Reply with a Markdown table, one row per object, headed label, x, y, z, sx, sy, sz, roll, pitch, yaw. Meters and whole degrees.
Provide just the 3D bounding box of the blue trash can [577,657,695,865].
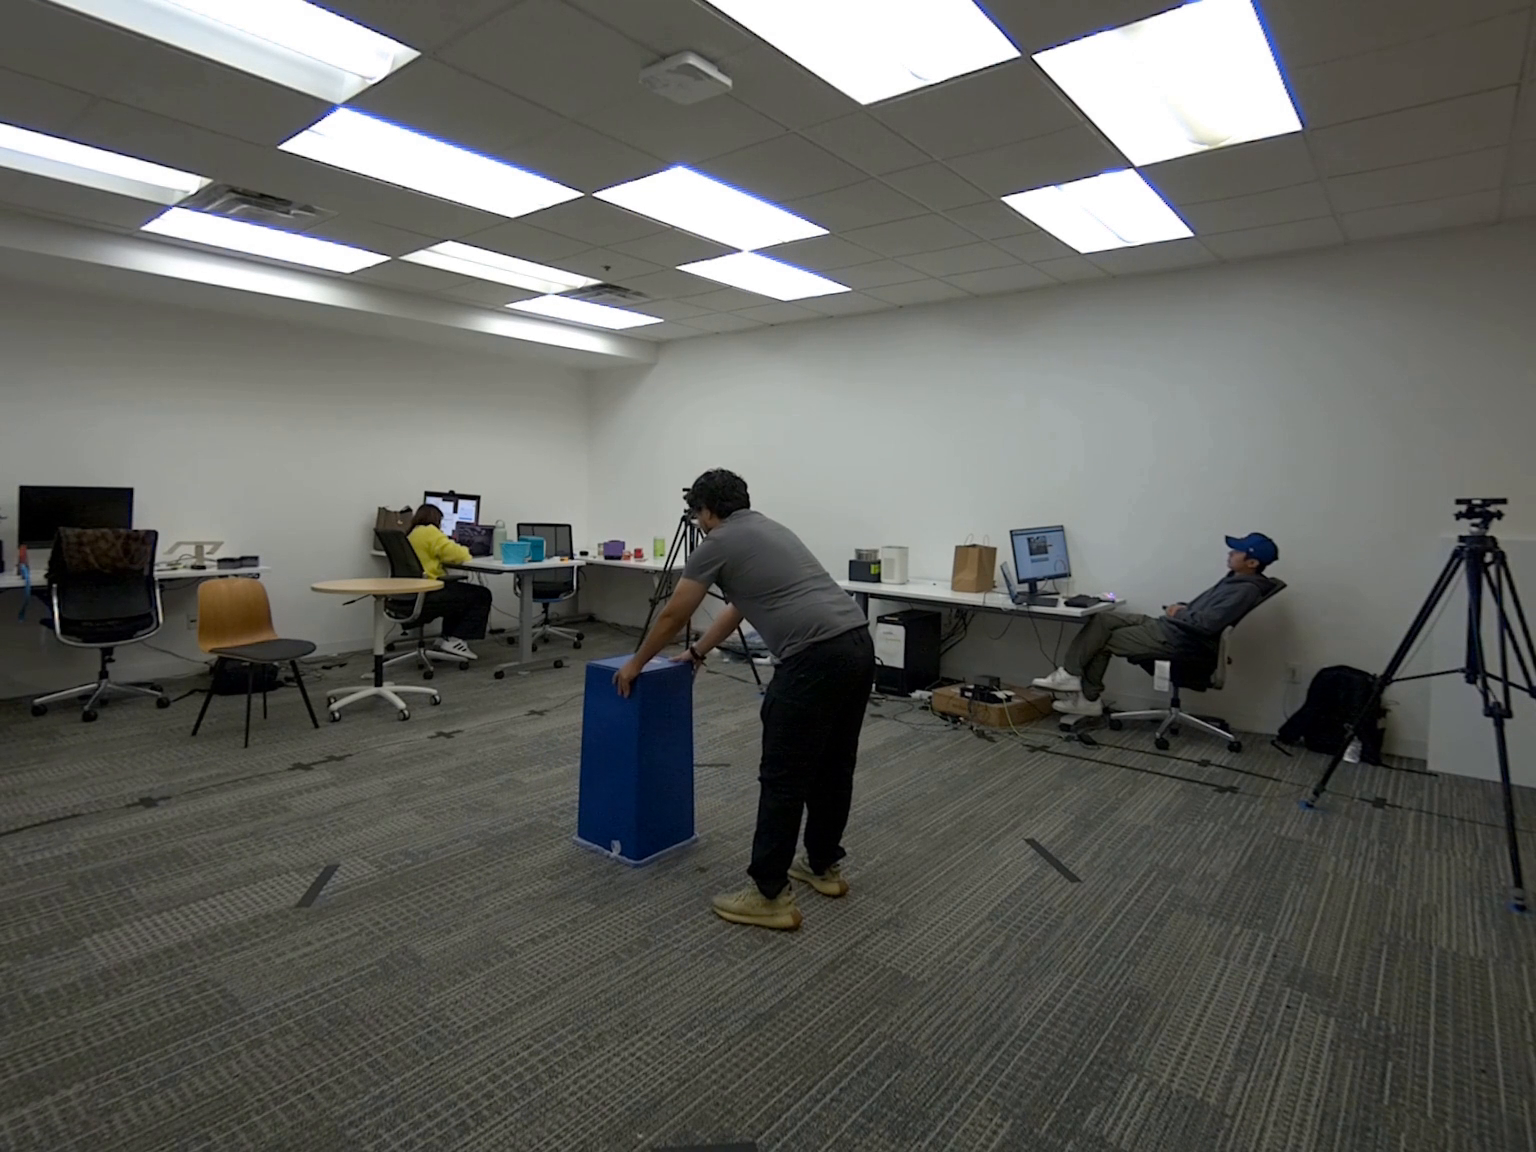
| label | x | y | z | sx | sy | sz | roll | pitch | yaw |
| --- | --- | --- | --- | --- | --- | --- | --- | --- | --- |
| blue trash can | -0.515 | 0.686 | 3.345 | 0.390 | 0.712 | 0.363 | 3 | 3 | 38 |
